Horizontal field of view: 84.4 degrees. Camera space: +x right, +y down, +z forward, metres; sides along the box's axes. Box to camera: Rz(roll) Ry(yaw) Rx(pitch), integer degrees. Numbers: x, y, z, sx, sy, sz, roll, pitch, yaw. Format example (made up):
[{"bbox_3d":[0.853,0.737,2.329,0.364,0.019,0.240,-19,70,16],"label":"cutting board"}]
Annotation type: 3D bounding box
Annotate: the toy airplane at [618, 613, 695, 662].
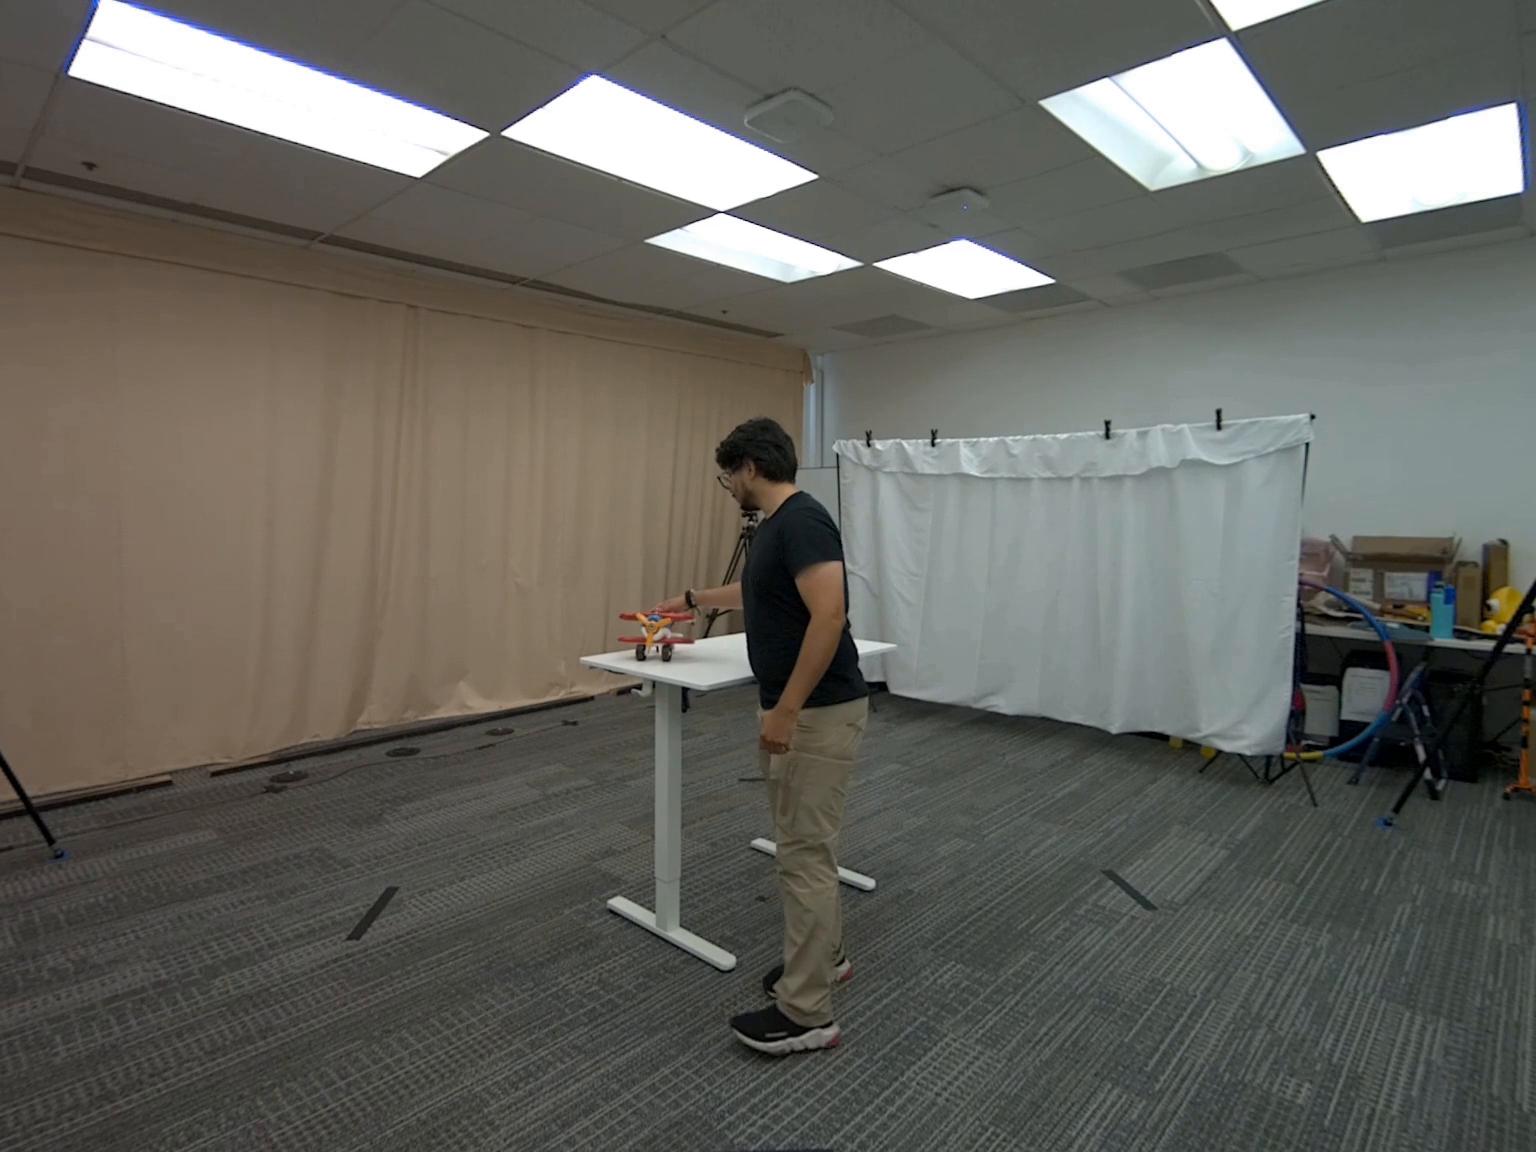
[{"bbox_3d":[-0.384,0.195,2.827,0.246,0.156,0.265,-1,5,-22],"label":"toy airplane"}]
